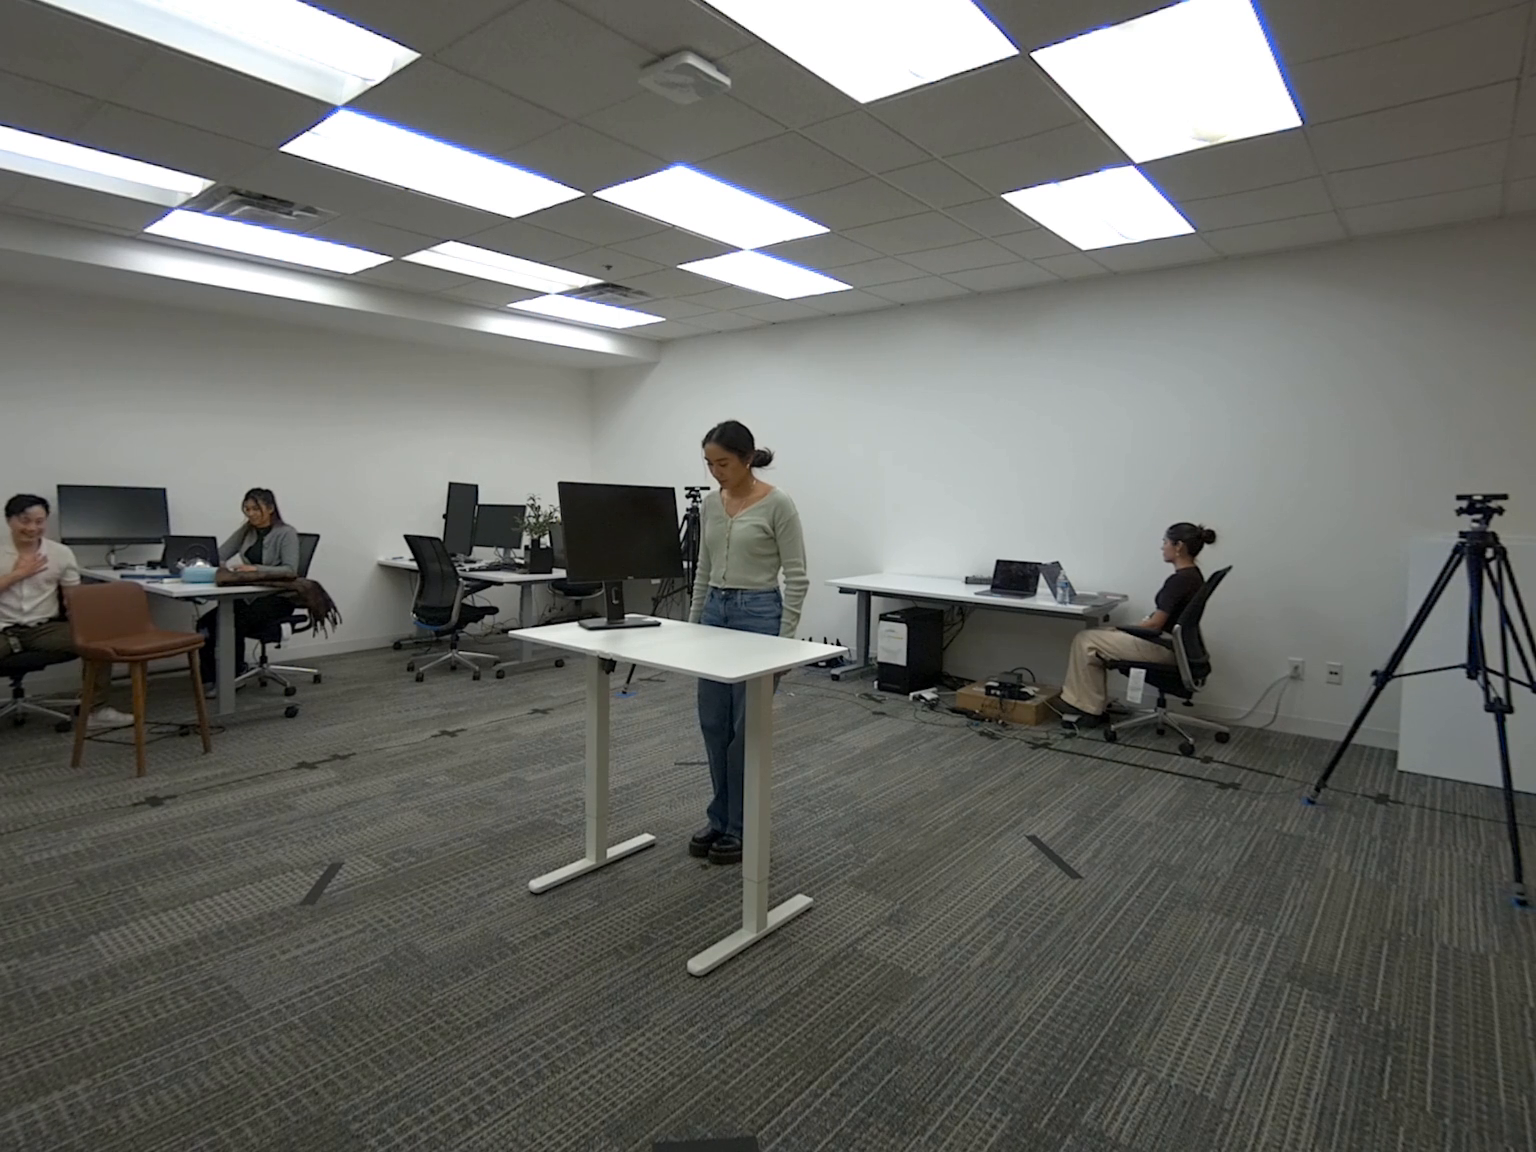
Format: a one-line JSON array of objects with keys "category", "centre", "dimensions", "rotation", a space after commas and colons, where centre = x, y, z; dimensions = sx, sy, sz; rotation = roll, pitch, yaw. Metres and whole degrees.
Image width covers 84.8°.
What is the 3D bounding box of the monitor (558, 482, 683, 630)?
[{"category": "monitor", "centre": [-0.558, -0.075, 3.111], "dimensions": [0.193, 0.521, 0.522], "rotation": [4, 4, 43]}]
